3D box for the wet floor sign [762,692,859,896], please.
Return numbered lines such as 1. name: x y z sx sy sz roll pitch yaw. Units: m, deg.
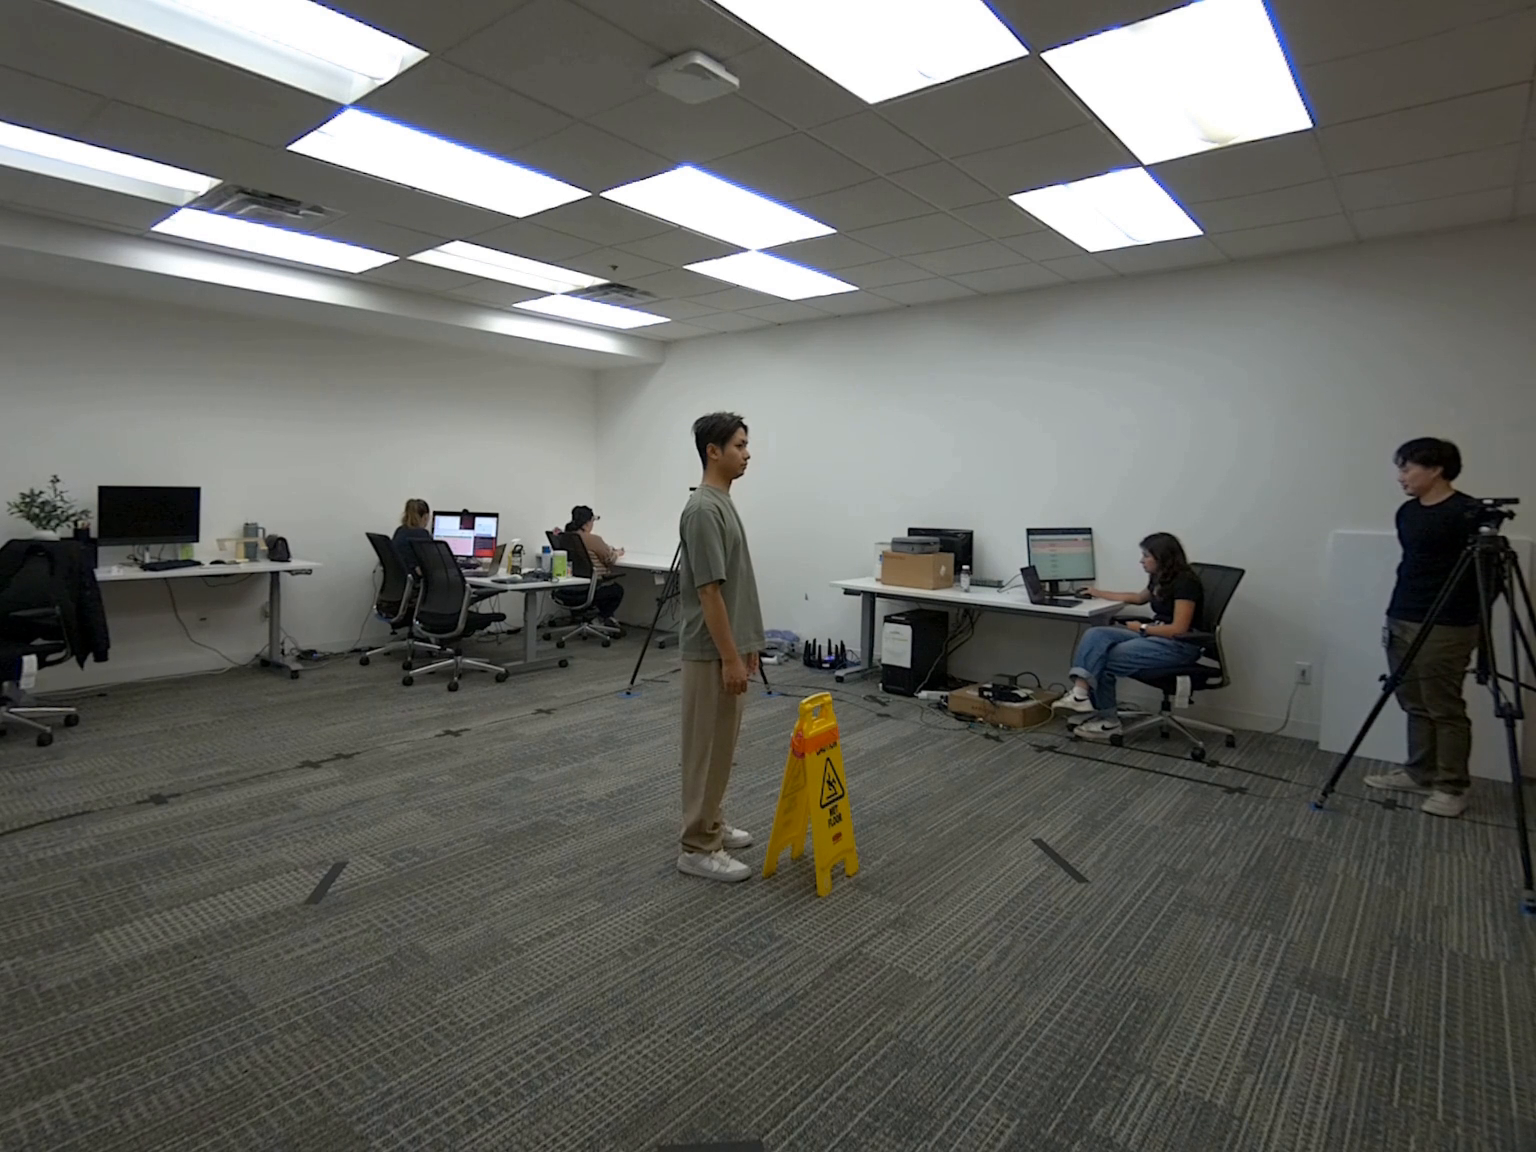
1. wet floor sign: 0.152 0.755 3.069 0.299 0.645 0.274 4 3 34
